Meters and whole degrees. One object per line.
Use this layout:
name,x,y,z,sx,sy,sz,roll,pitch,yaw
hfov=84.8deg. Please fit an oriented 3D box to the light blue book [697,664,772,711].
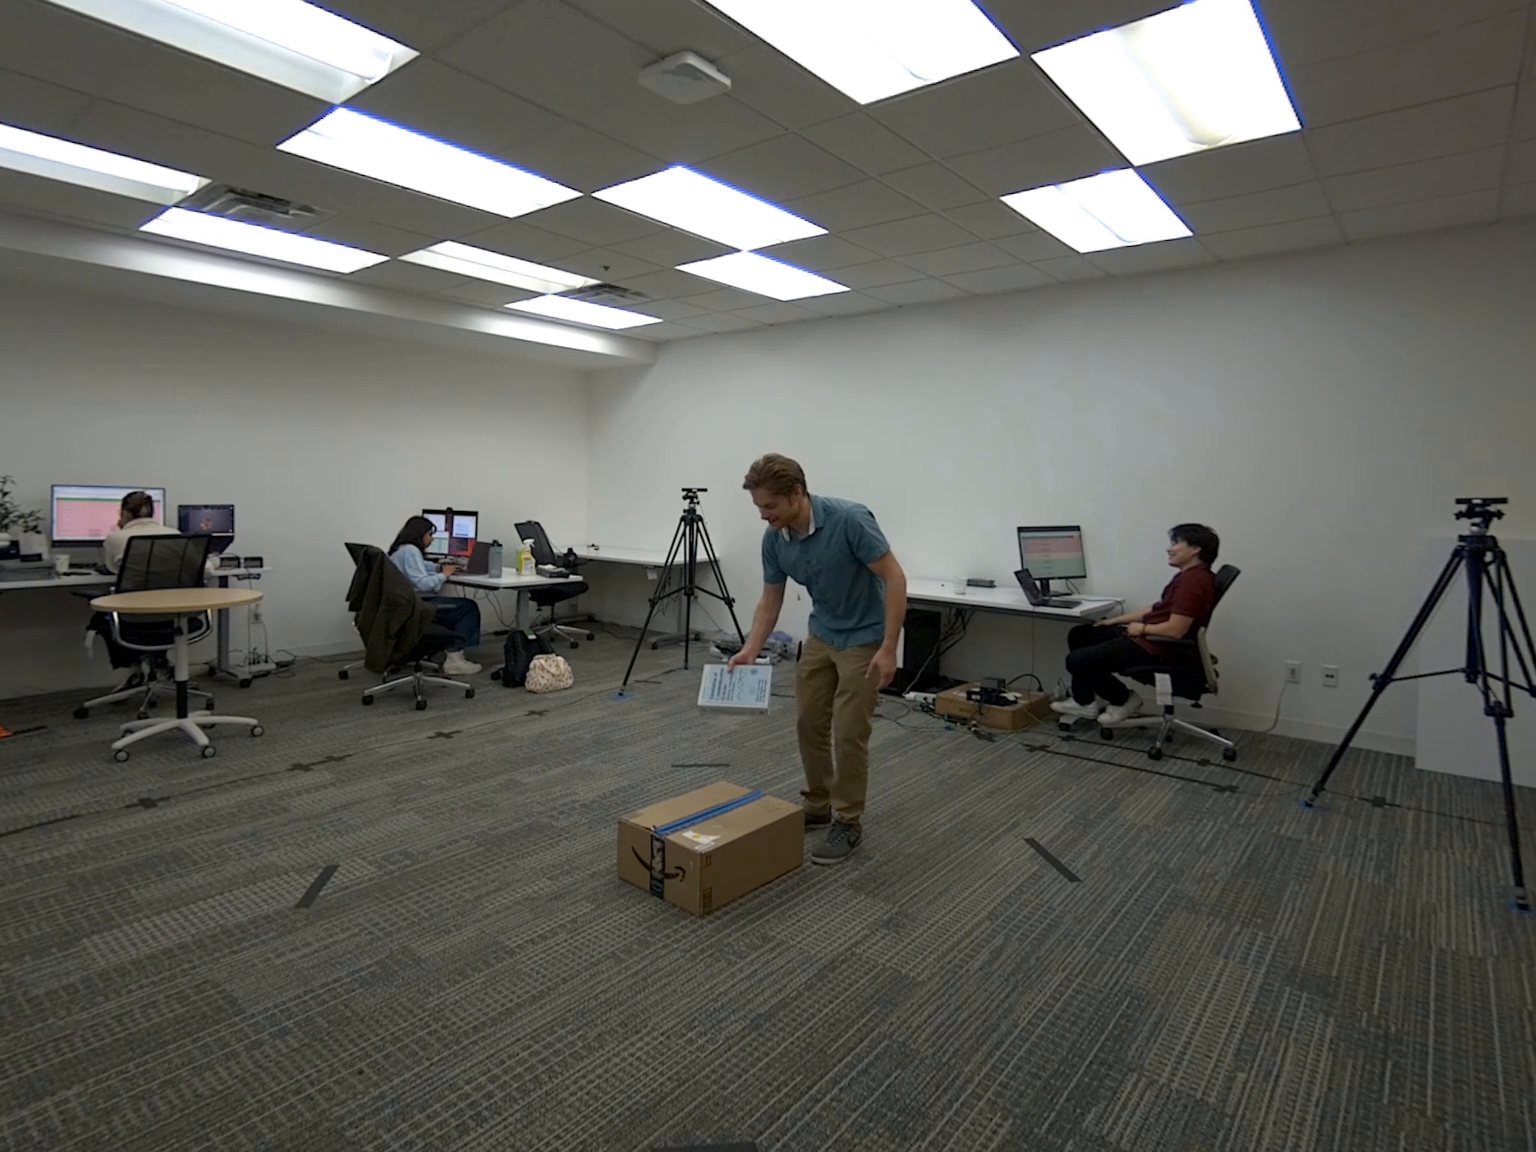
light blue book,-0.127,0.426,3.197,0.264,0.057,0.196,-1,47,10
